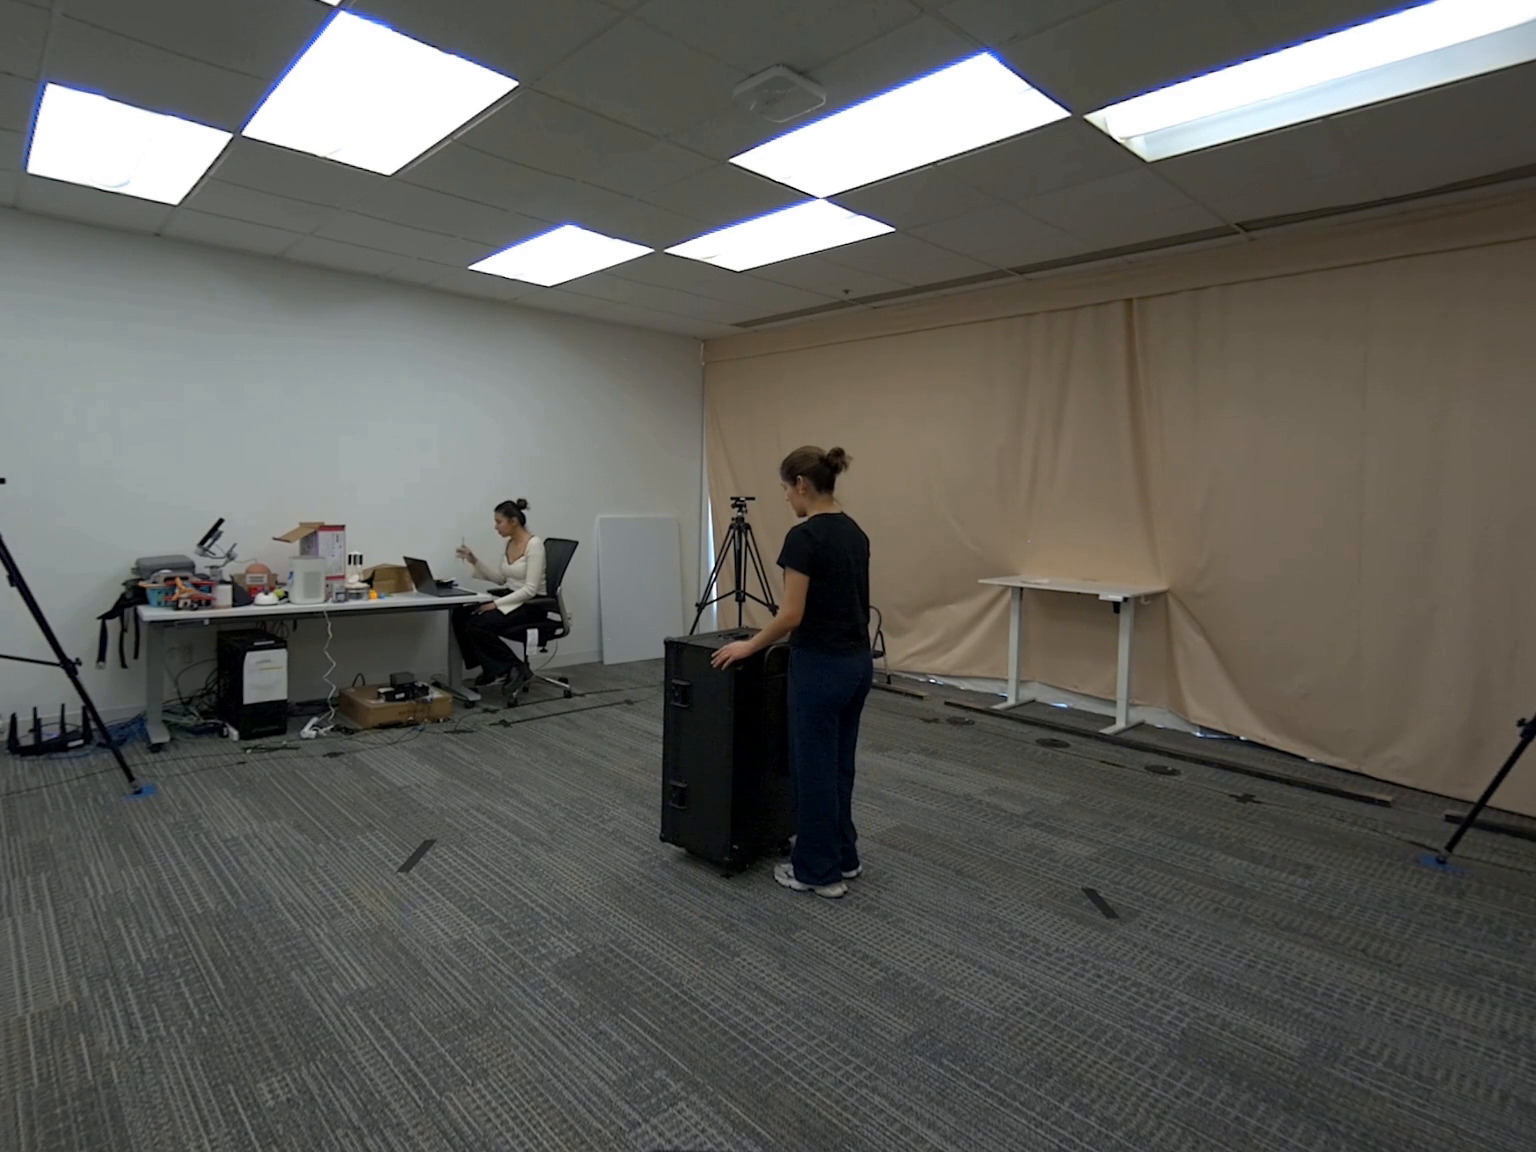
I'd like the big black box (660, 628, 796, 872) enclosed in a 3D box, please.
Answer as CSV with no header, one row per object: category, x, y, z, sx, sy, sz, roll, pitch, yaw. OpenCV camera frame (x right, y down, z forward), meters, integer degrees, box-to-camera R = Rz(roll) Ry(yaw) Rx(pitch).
big black box,-0.114,0.667,3.278,0.406,0.859,0.509,5,5,39
